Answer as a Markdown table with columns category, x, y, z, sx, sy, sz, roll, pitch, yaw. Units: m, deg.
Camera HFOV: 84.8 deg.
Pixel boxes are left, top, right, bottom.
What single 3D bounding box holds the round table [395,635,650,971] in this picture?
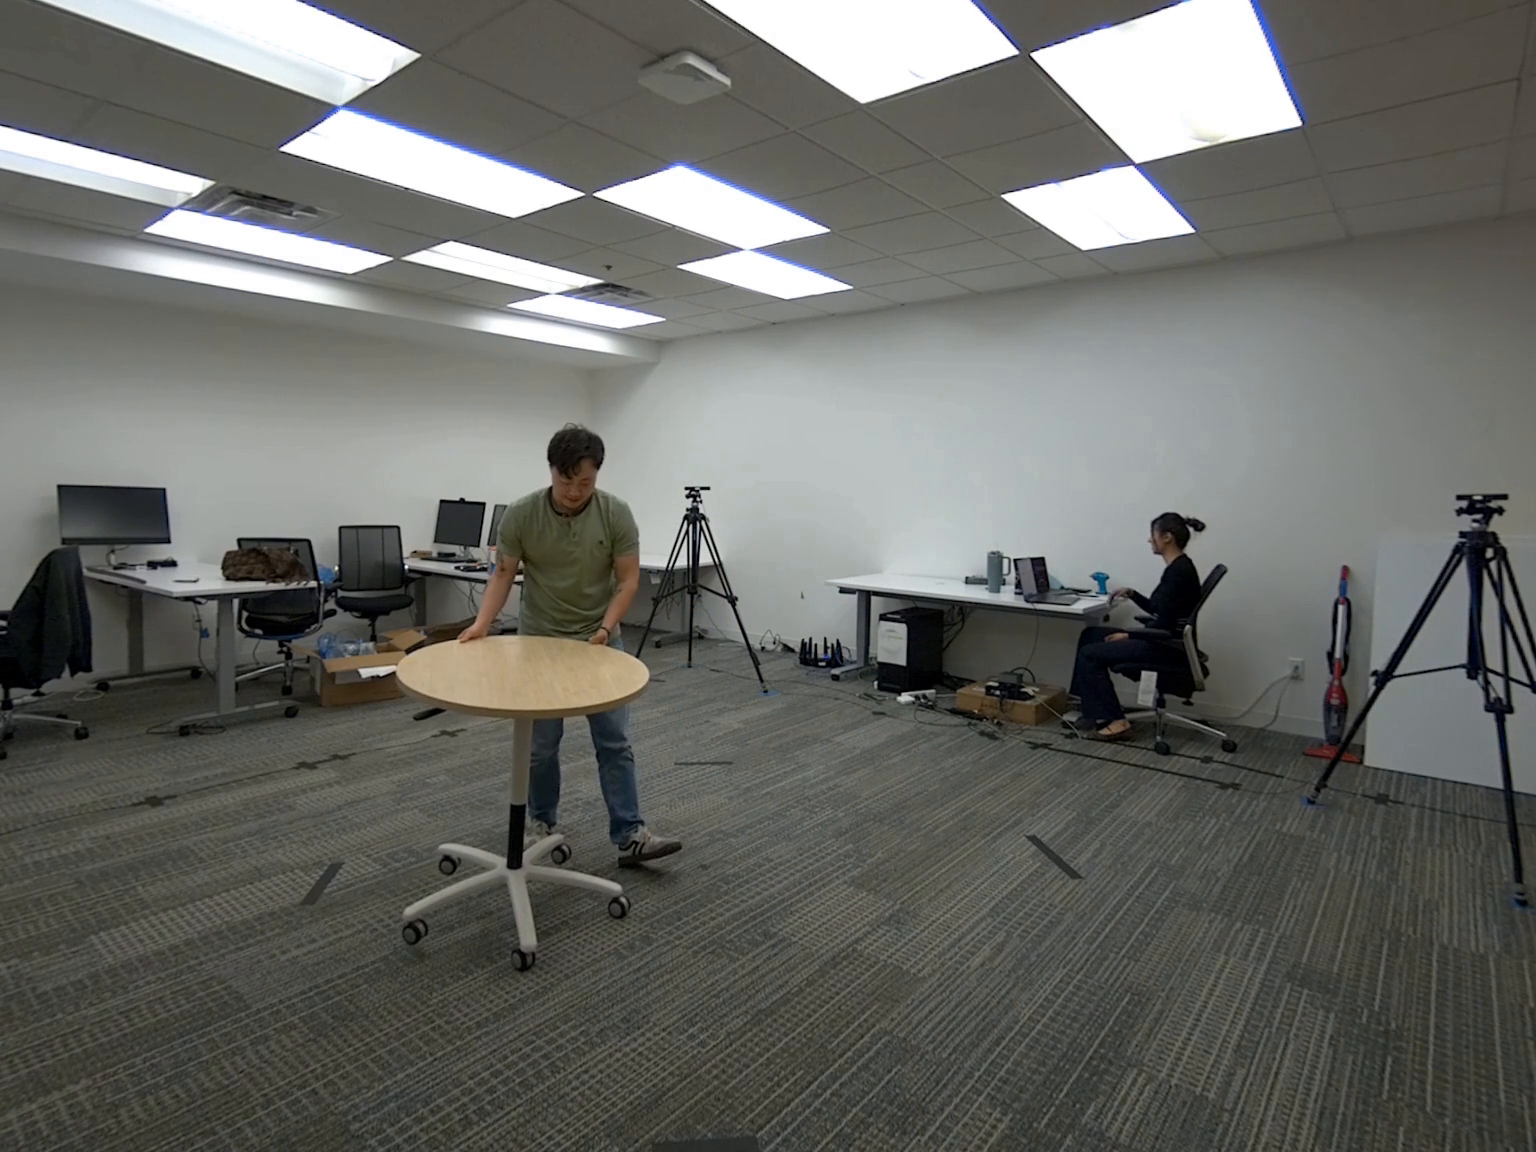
| category | x | y | z | sx | sy | sz | roll | pitch | yaw |
| --- | --- | --- | --- | --- | --- | --- | --- | --- | --- |
| round table | -0.793 | 0.678 | 2.690 | 0.763 | 0.789 | 0.771 | 5 | 8 | -3 |
